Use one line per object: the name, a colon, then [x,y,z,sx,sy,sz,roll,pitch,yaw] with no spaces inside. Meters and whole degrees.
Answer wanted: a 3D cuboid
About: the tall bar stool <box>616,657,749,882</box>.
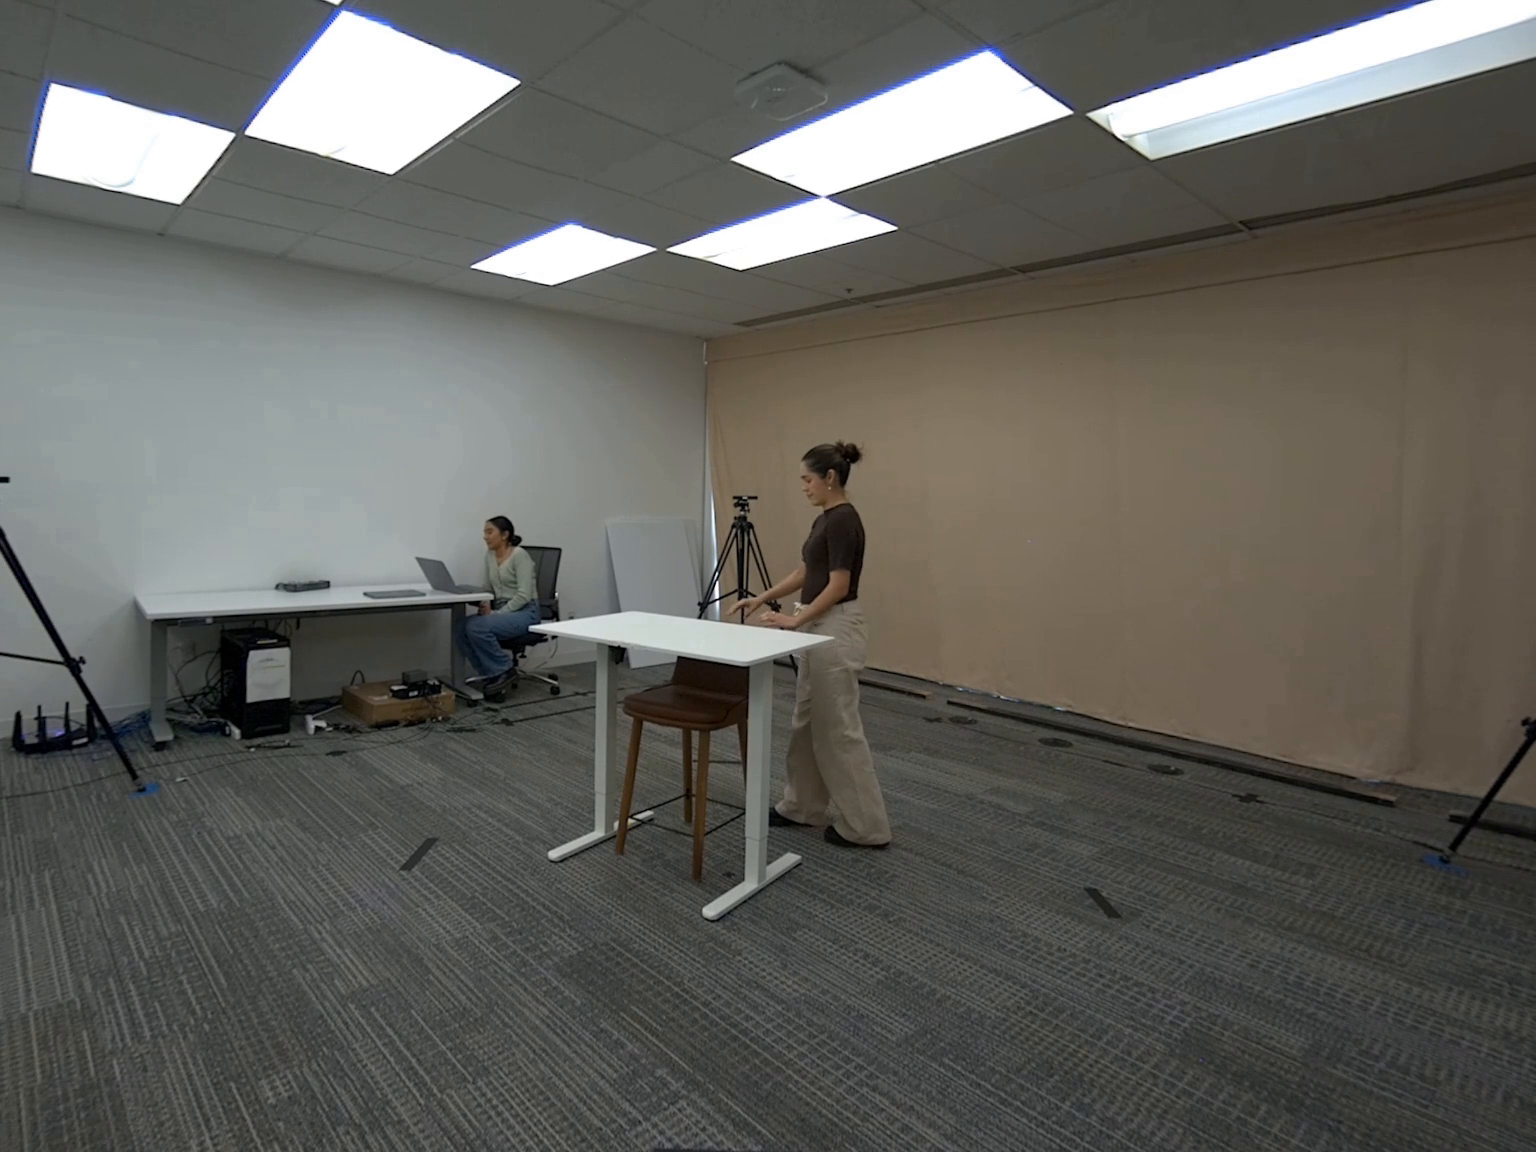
tall bar stool: [-0.293,0.646,3.312,0.467,0.888,0.457,3,2,34]
